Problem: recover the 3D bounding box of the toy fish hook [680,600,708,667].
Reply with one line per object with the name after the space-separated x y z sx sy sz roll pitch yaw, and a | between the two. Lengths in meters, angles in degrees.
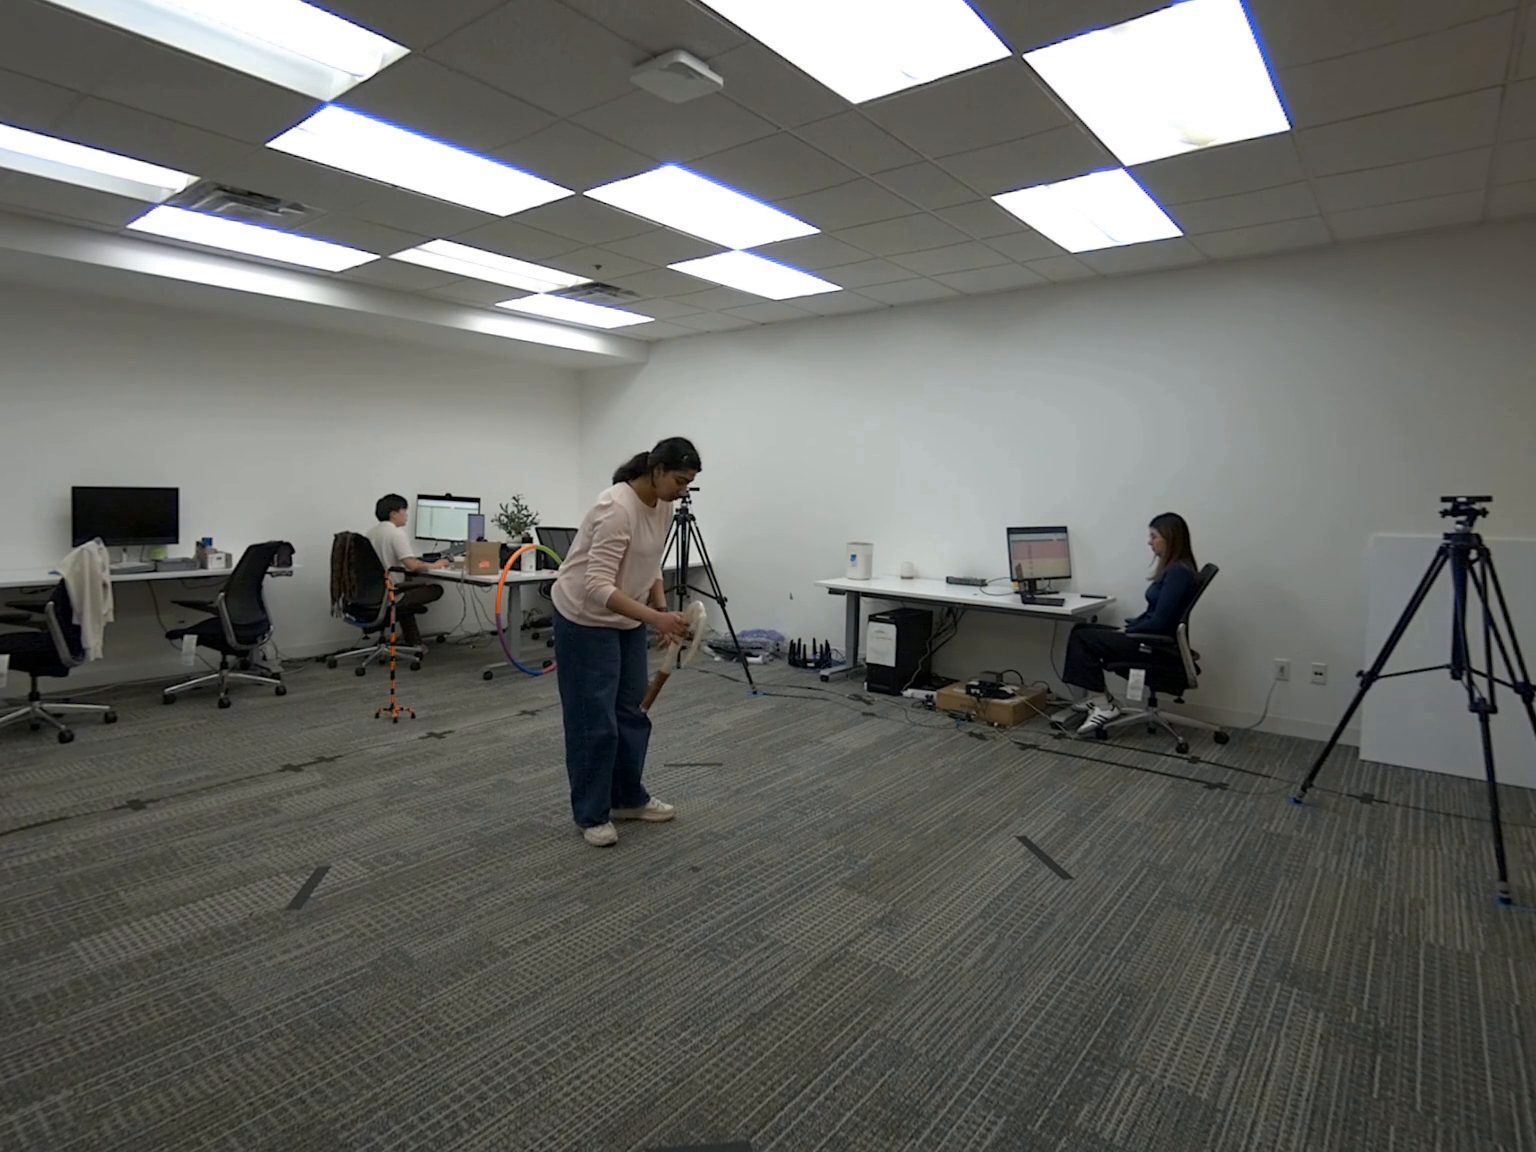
-0.349 0.325 3.003 0.047 0.503 0.232 19 21 -24 | toy fish hook
